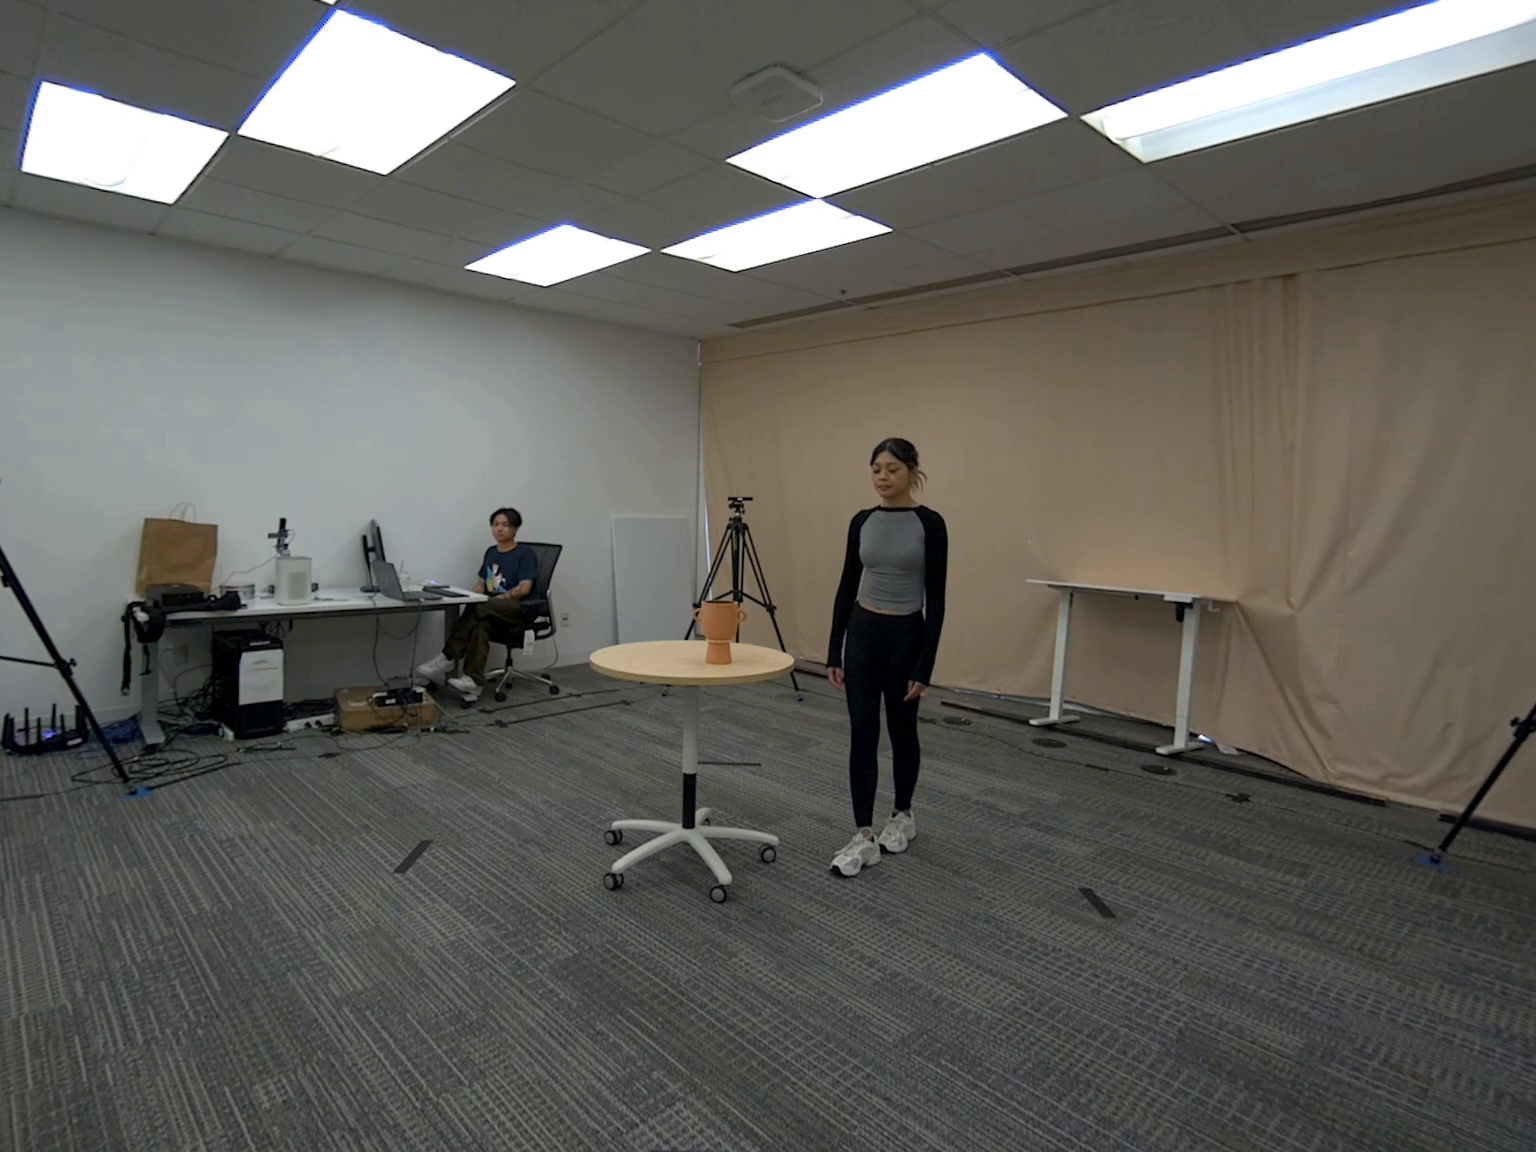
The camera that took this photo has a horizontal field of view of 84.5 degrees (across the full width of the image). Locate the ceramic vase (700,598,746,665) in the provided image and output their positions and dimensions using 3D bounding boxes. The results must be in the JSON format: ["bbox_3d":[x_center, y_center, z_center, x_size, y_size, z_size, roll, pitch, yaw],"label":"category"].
[{"bbox_3d":[-0.185,0.205,3.068,0.162,0.219,0.132,3,5,30],"label":"ceramic vase"}]
